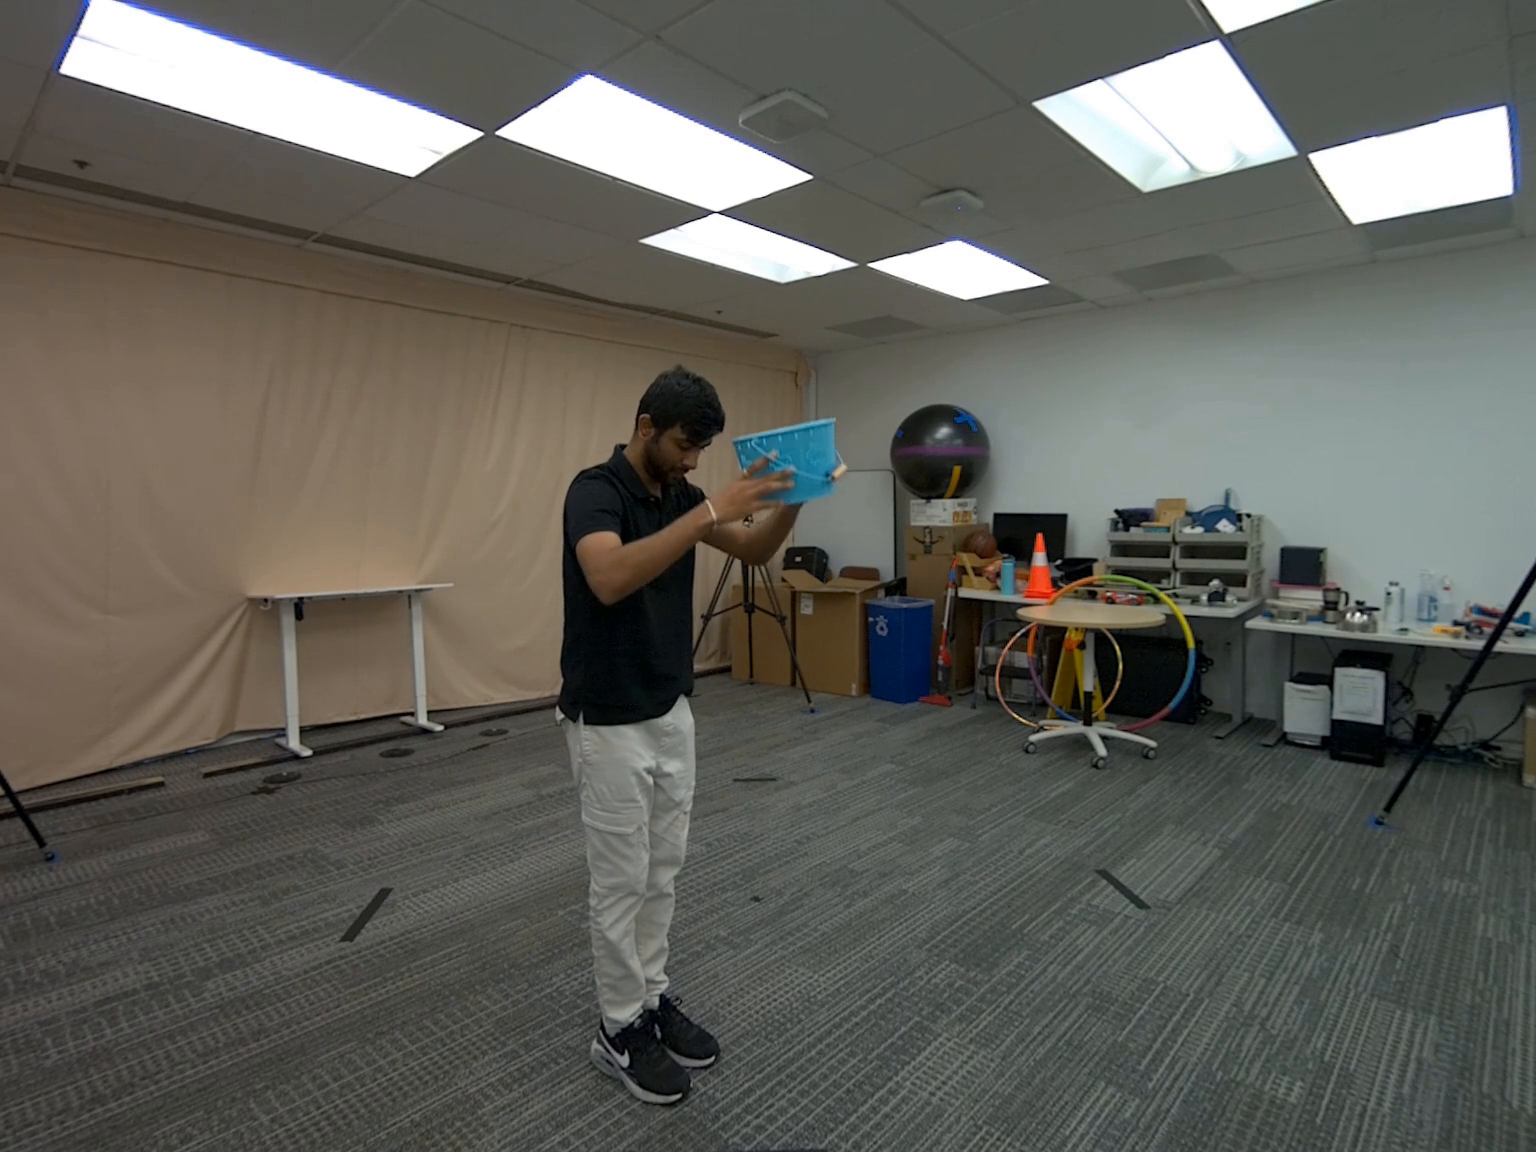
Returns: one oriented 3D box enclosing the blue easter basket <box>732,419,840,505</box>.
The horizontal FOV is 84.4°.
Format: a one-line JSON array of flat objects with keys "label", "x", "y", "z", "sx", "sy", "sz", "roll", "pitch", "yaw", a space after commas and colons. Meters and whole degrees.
[{"label": "blue easter basket", "x": 0.038, "y": -0.238, "z": 1.810, "sx": 0.244, "sy": 0.155, "sz": 0.245, "roll": -11, "pitch": 8, "yaw": 0}]
